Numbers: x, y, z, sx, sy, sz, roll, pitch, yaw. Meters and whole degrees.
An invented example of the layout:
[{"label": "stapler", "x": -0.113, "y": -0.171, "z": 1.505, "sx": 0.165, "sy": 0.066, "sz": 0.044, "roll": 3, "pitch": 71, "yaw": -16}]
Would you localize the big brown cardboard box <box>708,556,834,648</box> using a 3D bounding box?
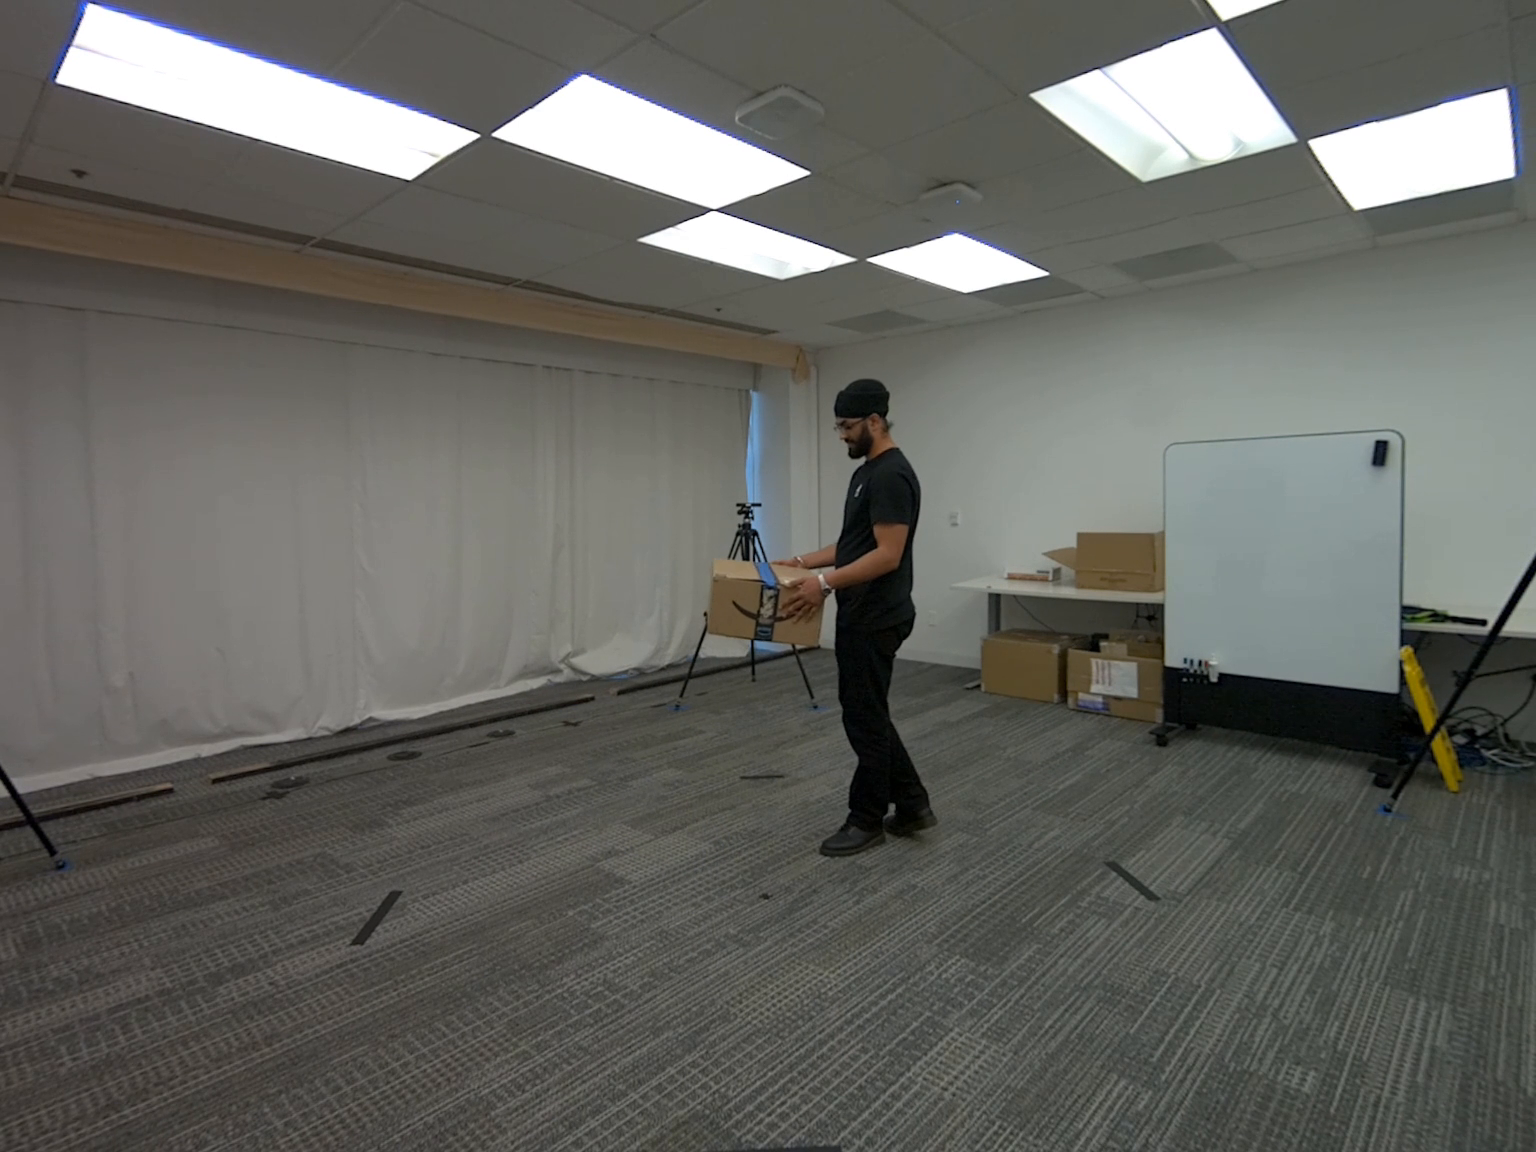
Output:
[{"label": "big brown cardboard box", "x": -0.010, "y": 0.087, "z": 3.360, "sx": 0.416, "sy": 0.232, "sz": 0.594, "roll": 5, "pitch": 6, "yaw": -5}]
